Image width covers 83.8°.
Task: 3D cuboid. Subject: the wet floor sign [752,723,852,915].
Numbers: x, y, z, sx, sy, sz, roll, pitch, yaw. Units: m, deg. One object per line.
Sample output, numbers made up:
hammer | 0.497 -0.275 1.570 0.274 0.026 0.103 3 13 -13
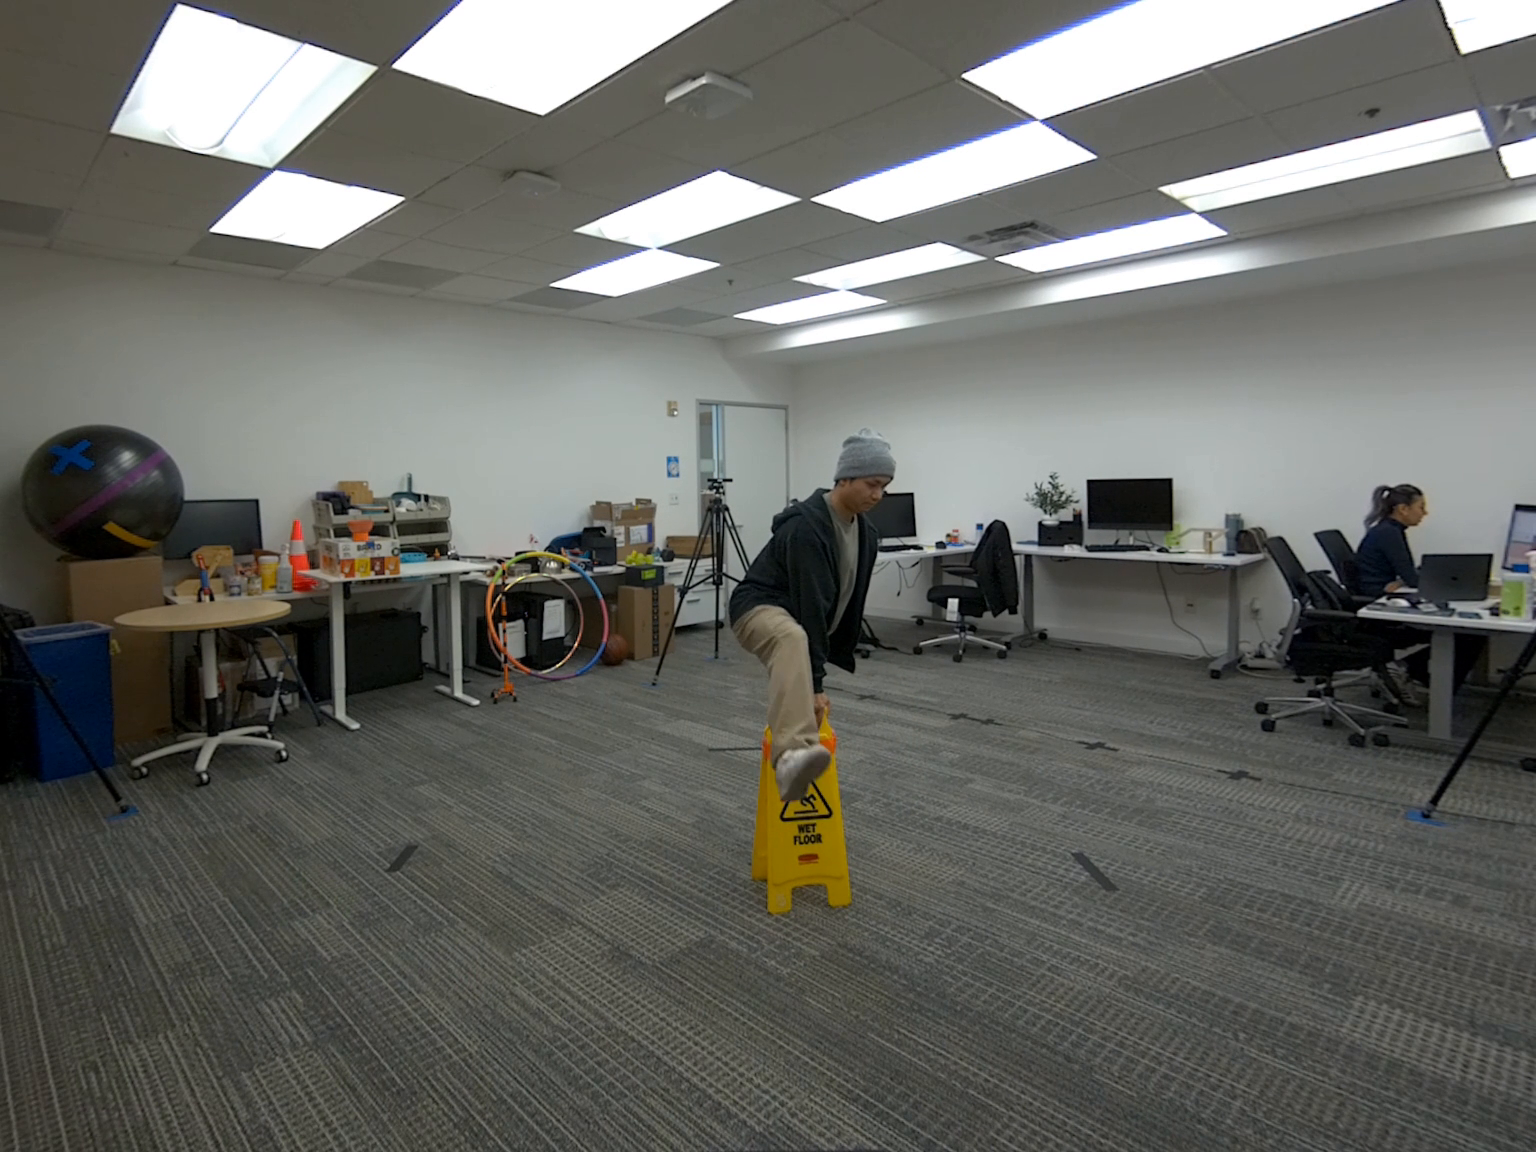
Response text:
wet floor sign | 0.106 0.743 2.866 0.279 0.643 0.294 -3 5 -12
